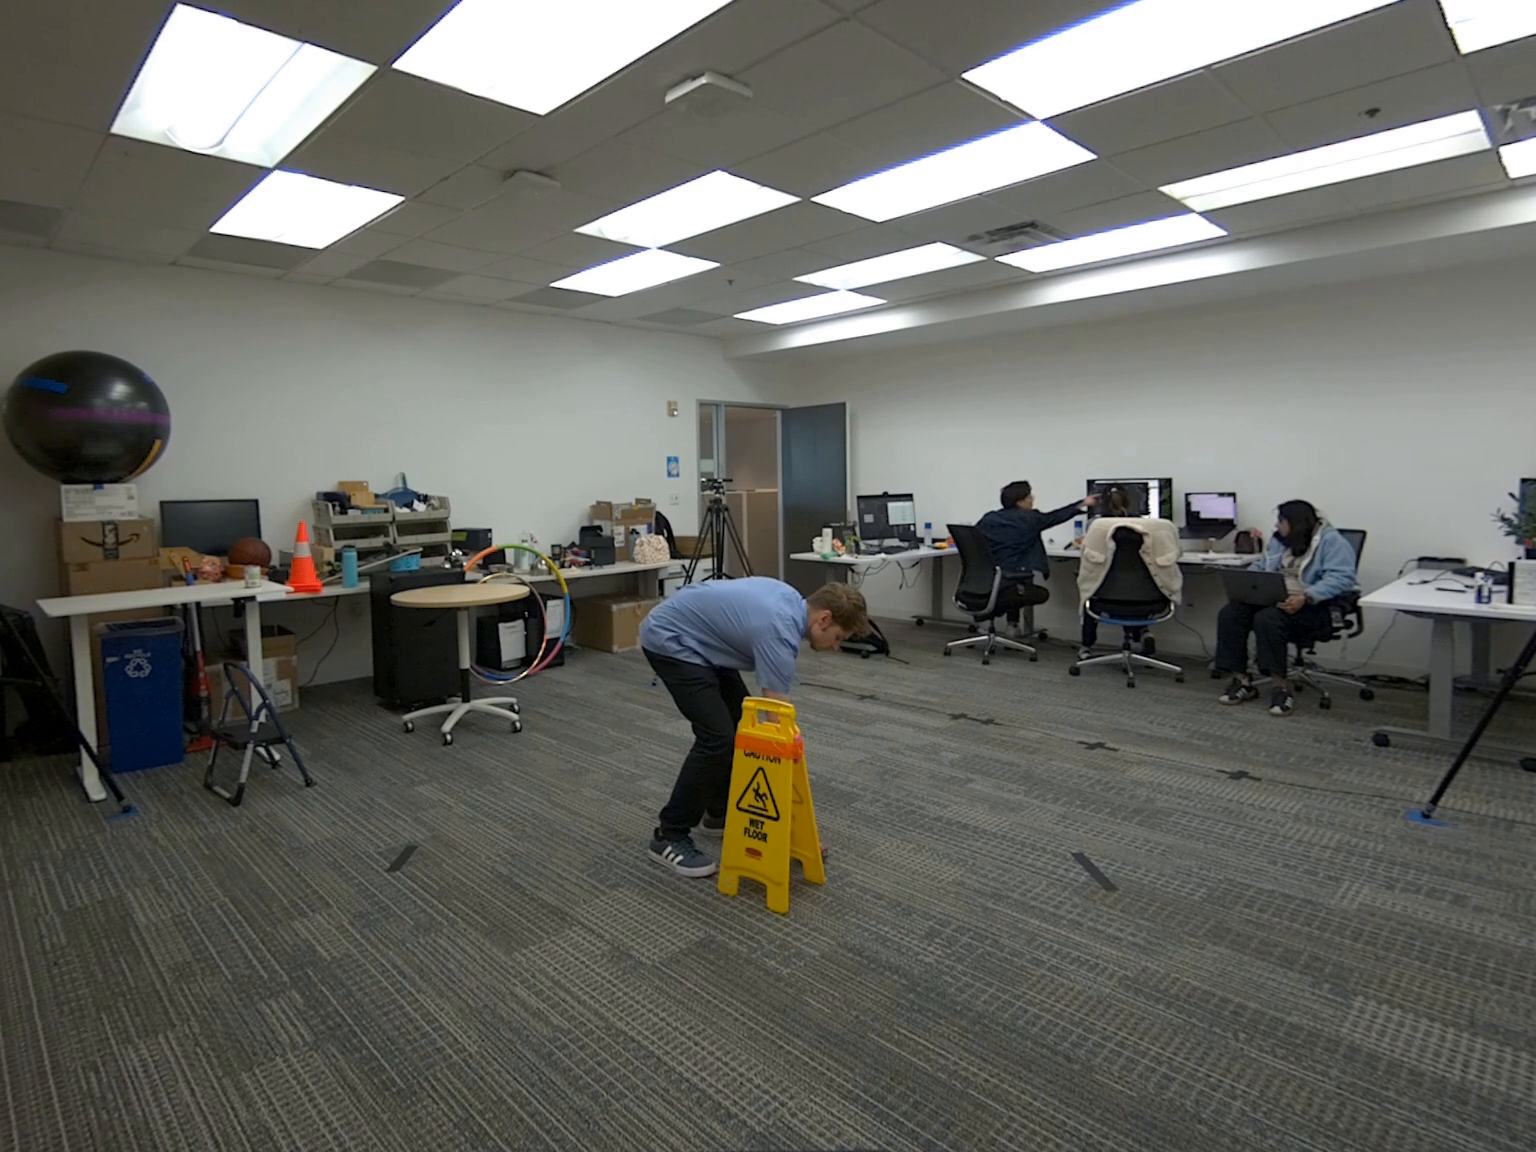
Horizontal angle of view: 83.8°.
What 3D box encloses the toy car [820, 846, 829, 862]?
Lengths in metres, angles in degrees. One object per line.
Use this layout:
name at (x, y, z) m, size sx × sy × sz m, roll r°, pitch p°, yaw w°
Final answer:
toy car at (0.096, 0.958, 3.083) m, size 0.134 × 0.083 × 0.245 m, roll 4°, pitch -38°, yaw 46°
